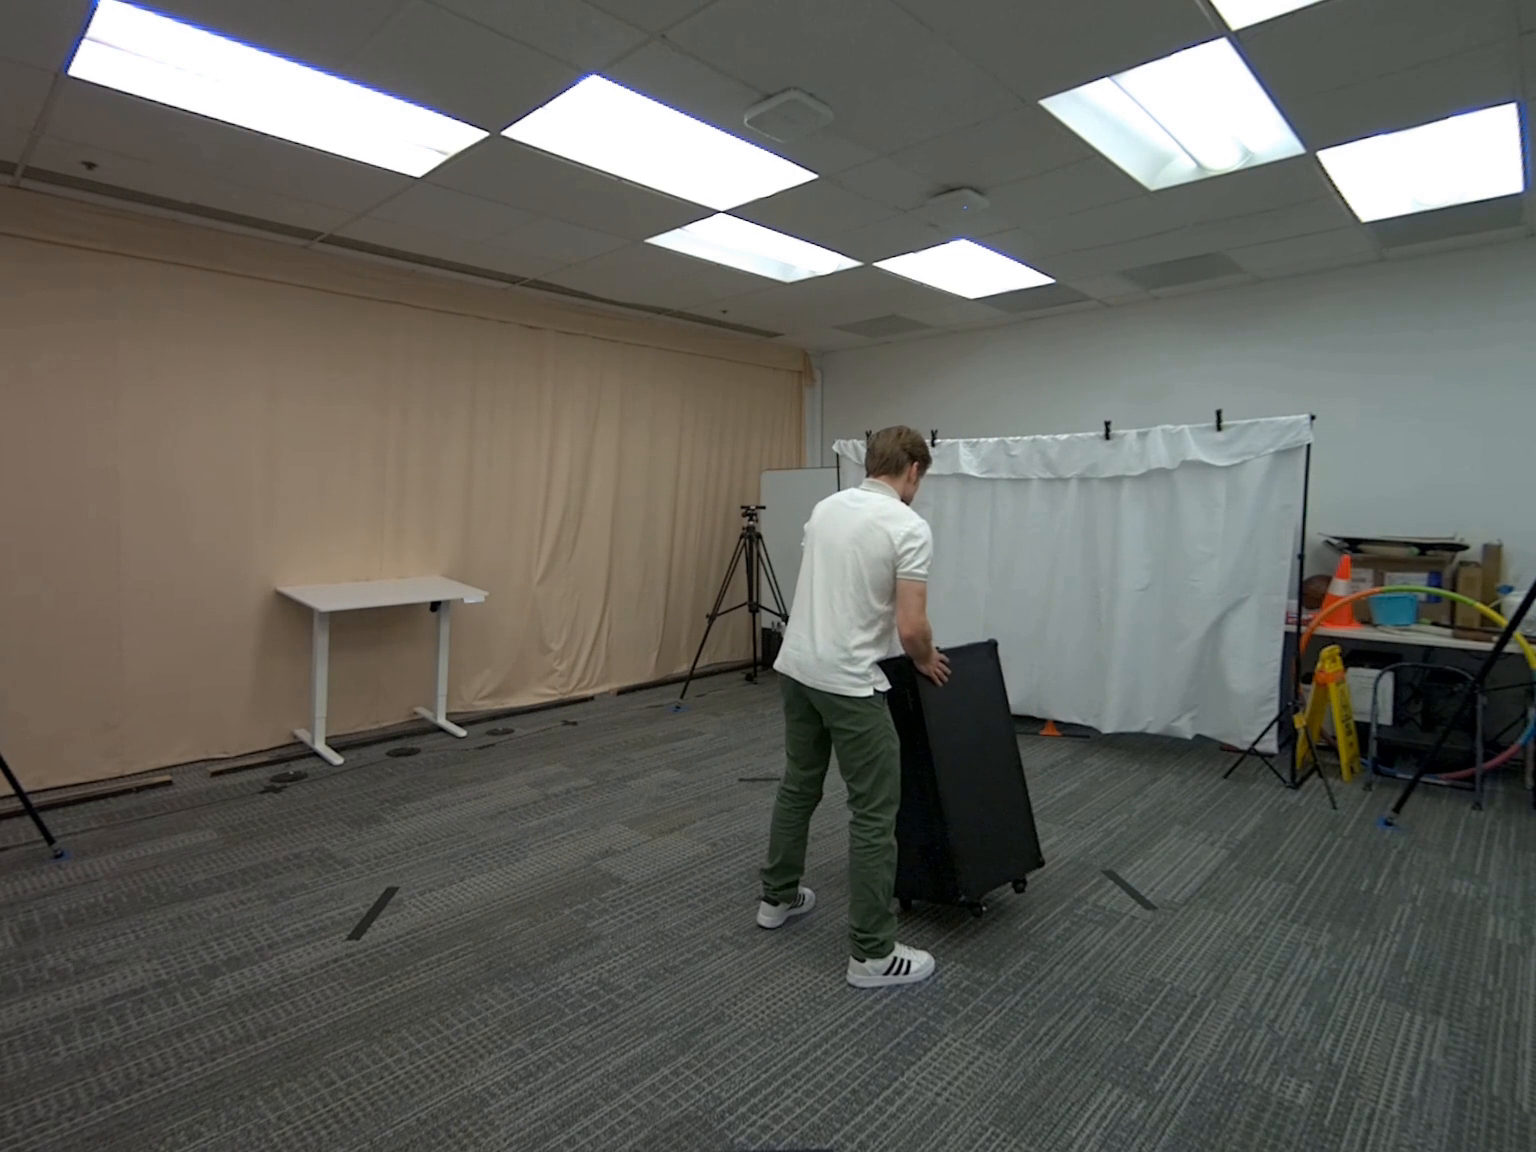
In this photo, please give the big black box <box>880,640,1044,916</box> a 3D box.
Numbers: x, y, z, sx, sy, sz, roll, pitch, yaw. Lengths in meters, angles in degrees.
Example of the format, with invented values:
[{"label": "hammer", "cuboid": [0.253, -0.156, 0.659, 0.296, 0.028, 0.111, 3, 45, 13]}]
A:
[{"label": "big black box", "cuboid": [0.599, 0.699, 2.931, 0.507, 0.874, 0.394, -3, -10, -41]}]
